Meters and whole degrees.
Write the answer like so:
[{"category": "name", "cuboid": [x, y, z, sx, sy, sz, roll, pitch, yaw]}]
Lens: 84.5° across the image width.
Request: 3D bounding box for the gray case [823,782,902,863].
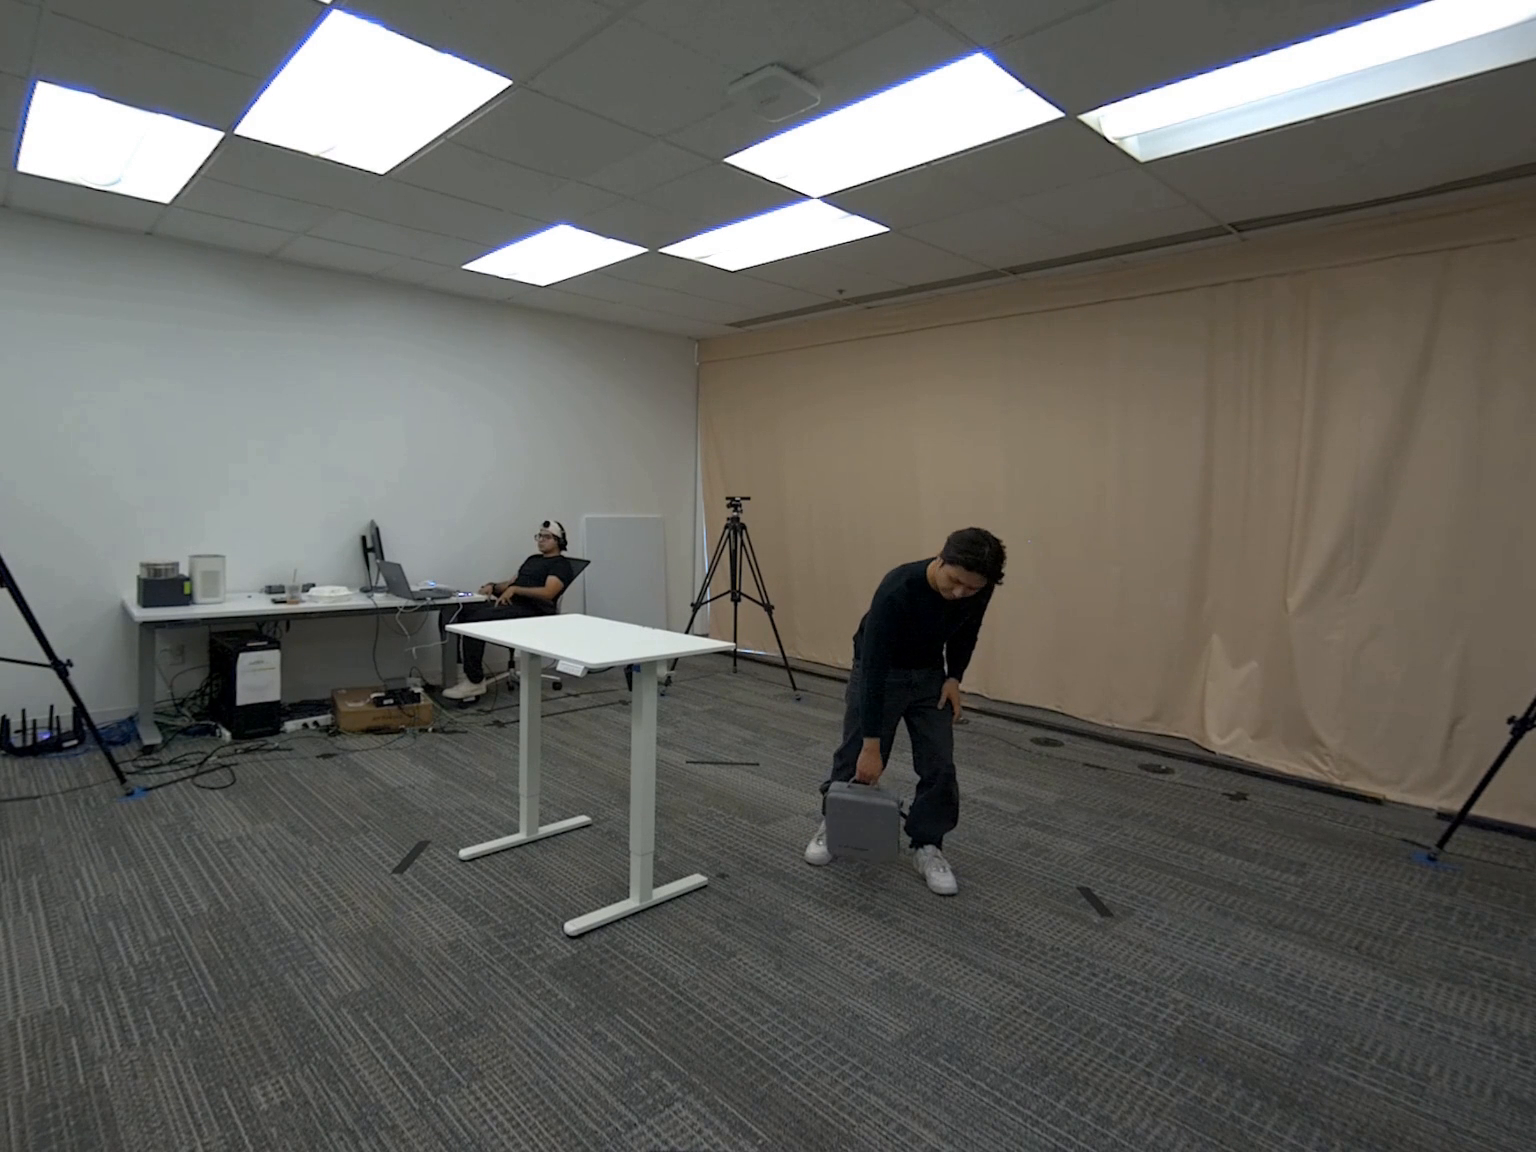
[{"category": "gray case", "cuboid": [0.327, 0.855, 2.947, 0.260, 0.257, 0.104, 4, 18, 15]}]
